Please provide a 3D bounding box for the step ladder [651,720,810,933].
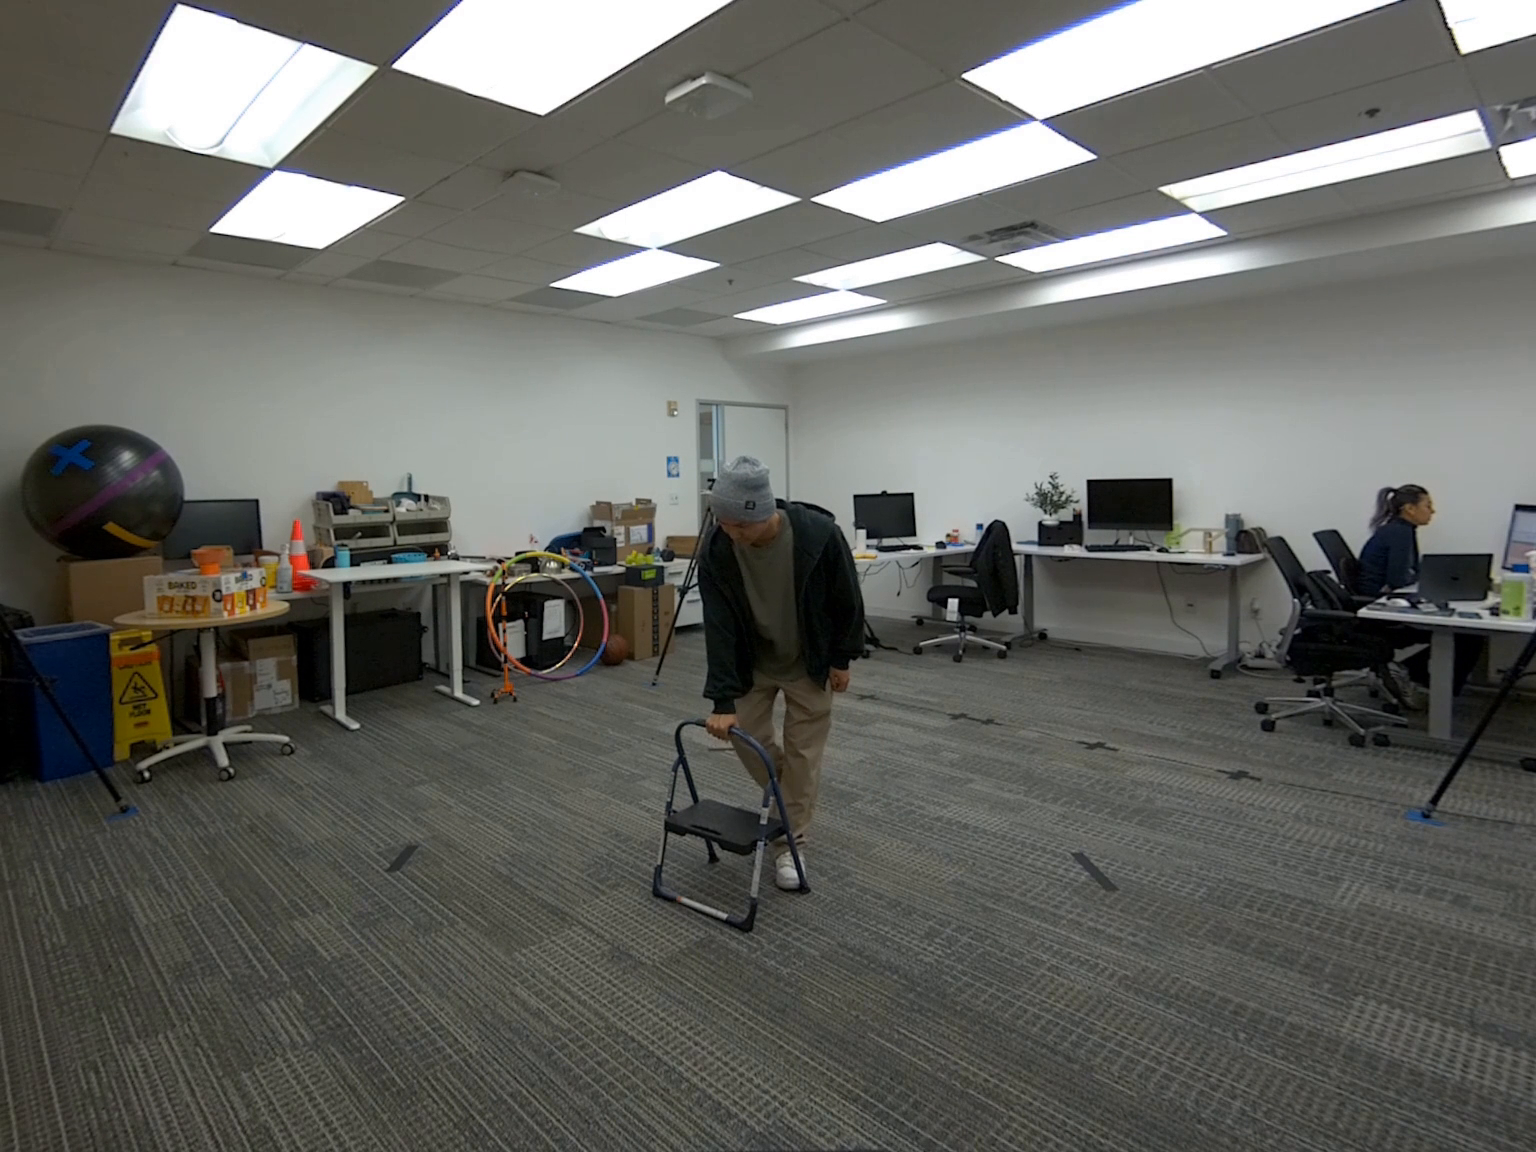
[{"bbox_3d":[-0.131,0.770,2.866,0.443,0.604,0.340,2,6,36],"label":"step ladder"}]
